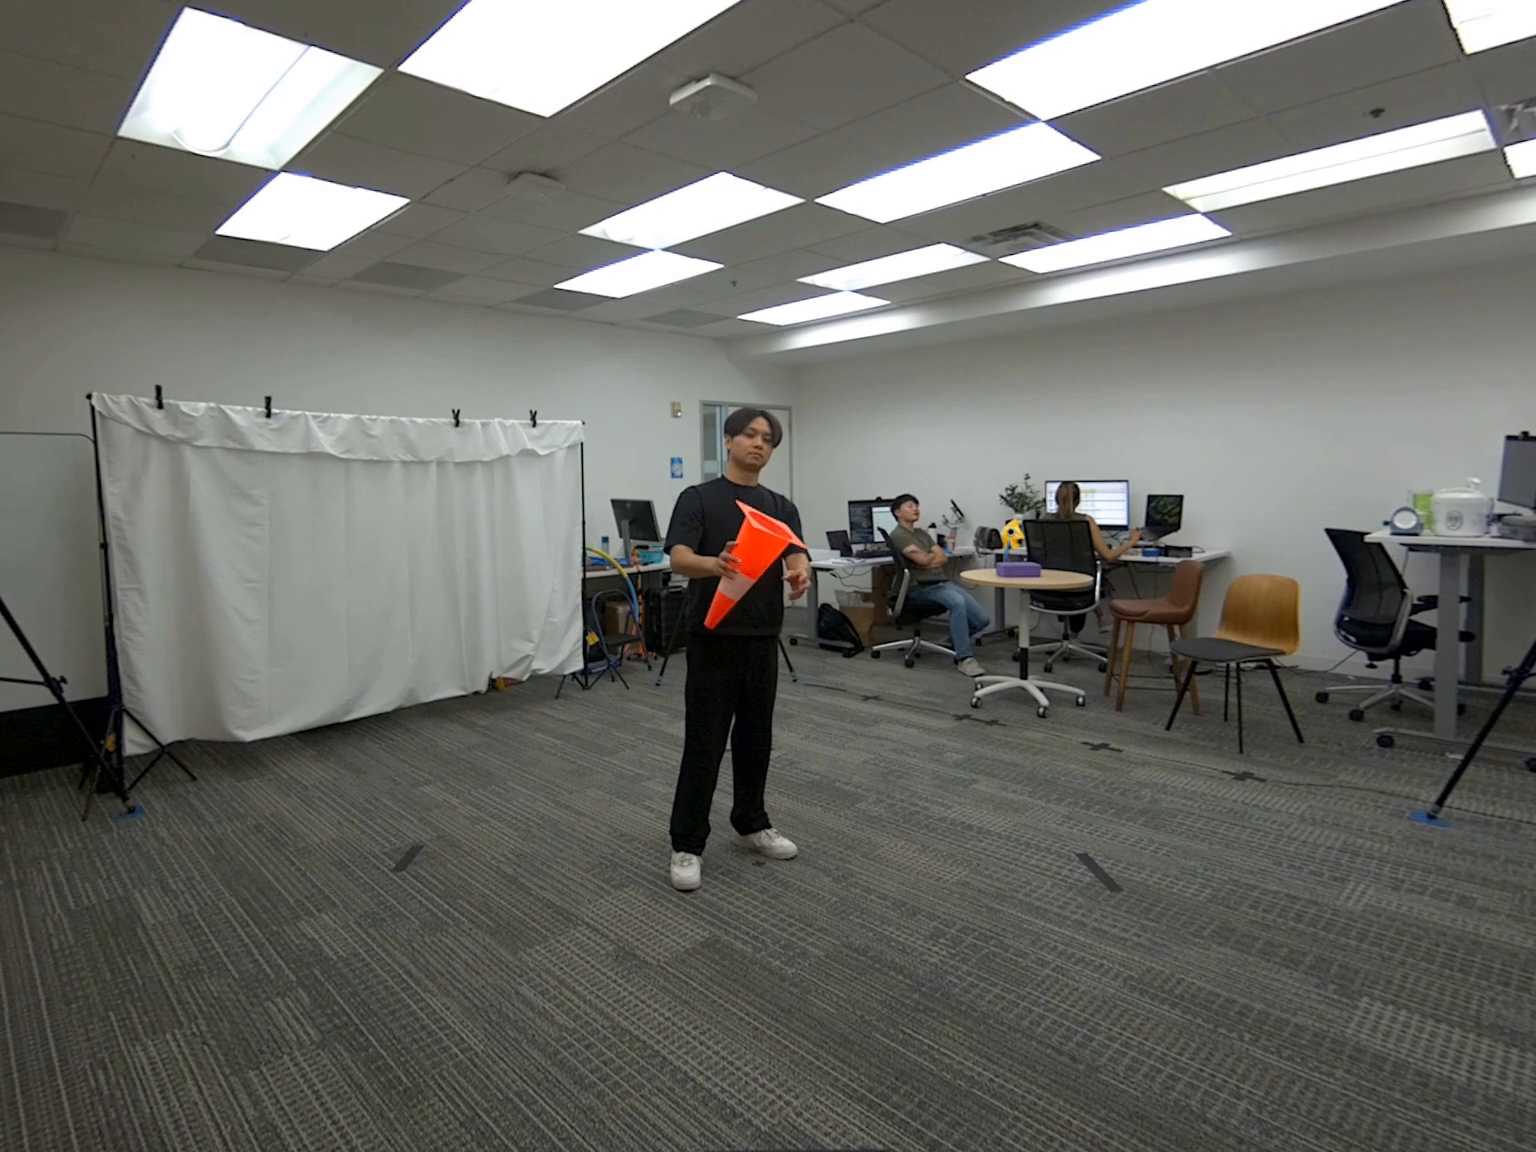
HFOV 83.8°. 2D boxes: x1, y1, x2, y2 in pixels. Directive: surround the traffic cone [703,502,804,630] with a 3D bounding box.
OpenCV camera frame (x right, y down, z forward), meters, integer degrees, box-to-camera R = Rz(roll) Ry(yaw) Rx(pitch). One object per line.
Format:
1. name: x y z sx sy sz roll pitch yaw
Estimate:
1. traffic cone: -0.093 0.003 2.625 0.199 0.382 0.210 26 13 -26
